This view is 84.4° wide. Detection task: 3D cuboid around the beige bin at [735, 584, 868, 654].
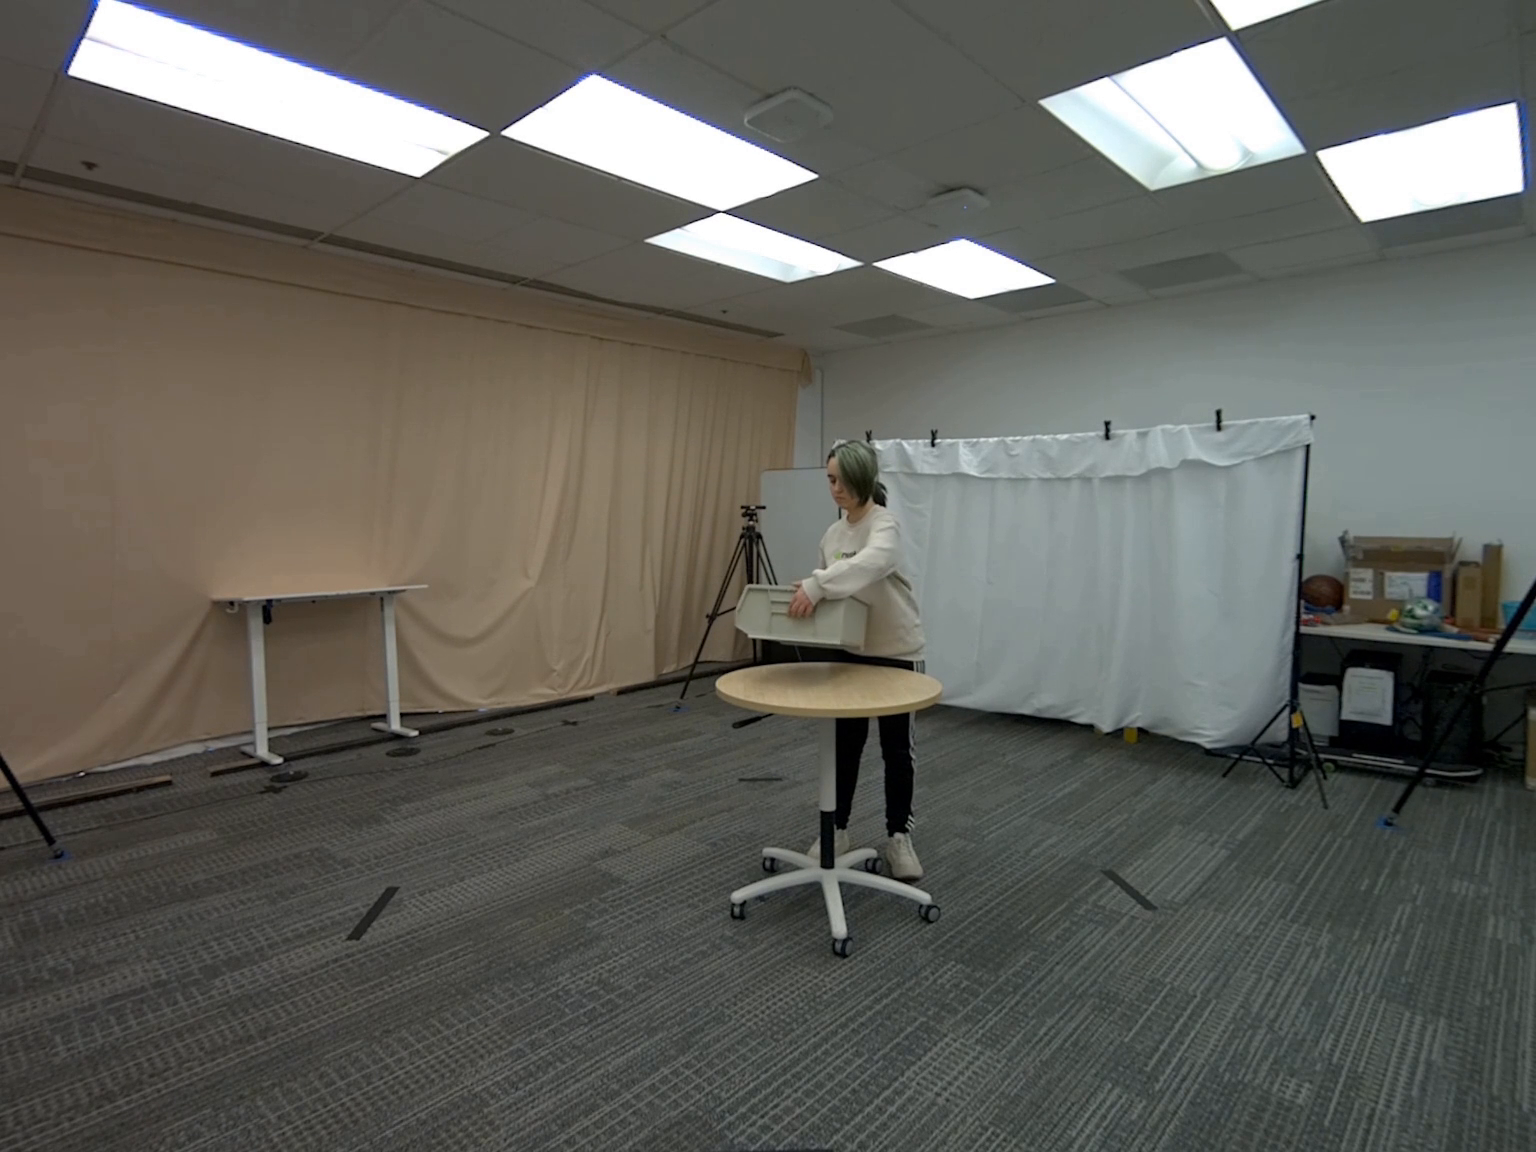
[{"bbox_3d":[0.129,0.158,2.975,0.386,0.190,0.411,3,-7,21],"label":"beige bin"}]
